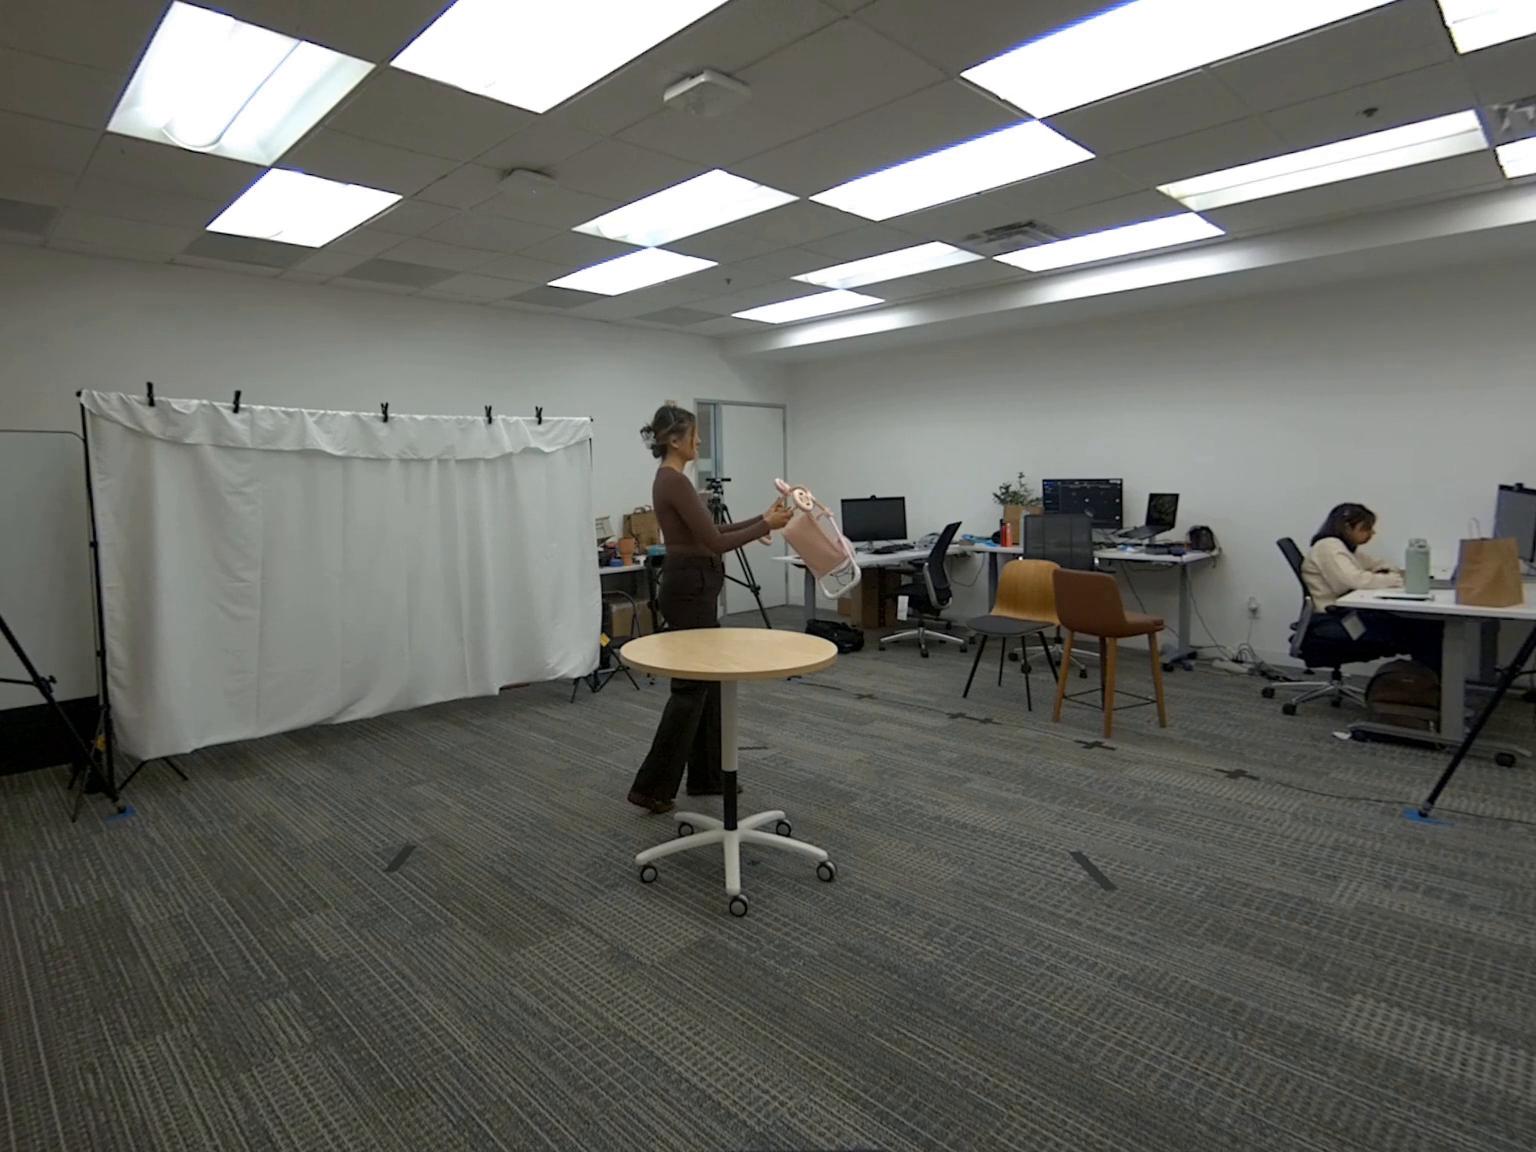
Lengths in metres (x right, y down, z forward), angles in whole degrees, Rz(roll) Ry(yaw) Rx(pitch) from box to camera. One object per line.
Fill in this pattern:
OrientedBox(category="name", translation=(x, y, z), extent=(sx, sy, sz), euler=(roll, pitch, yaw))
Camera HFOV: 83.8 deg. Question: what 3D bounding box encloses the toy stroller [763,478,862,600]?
OrientedBox(category="toy stroller", translation=(0.182, -0.185, 3.785), extent=(0.282, 0.529, 0.344), euler=(-41, 10, 24))
